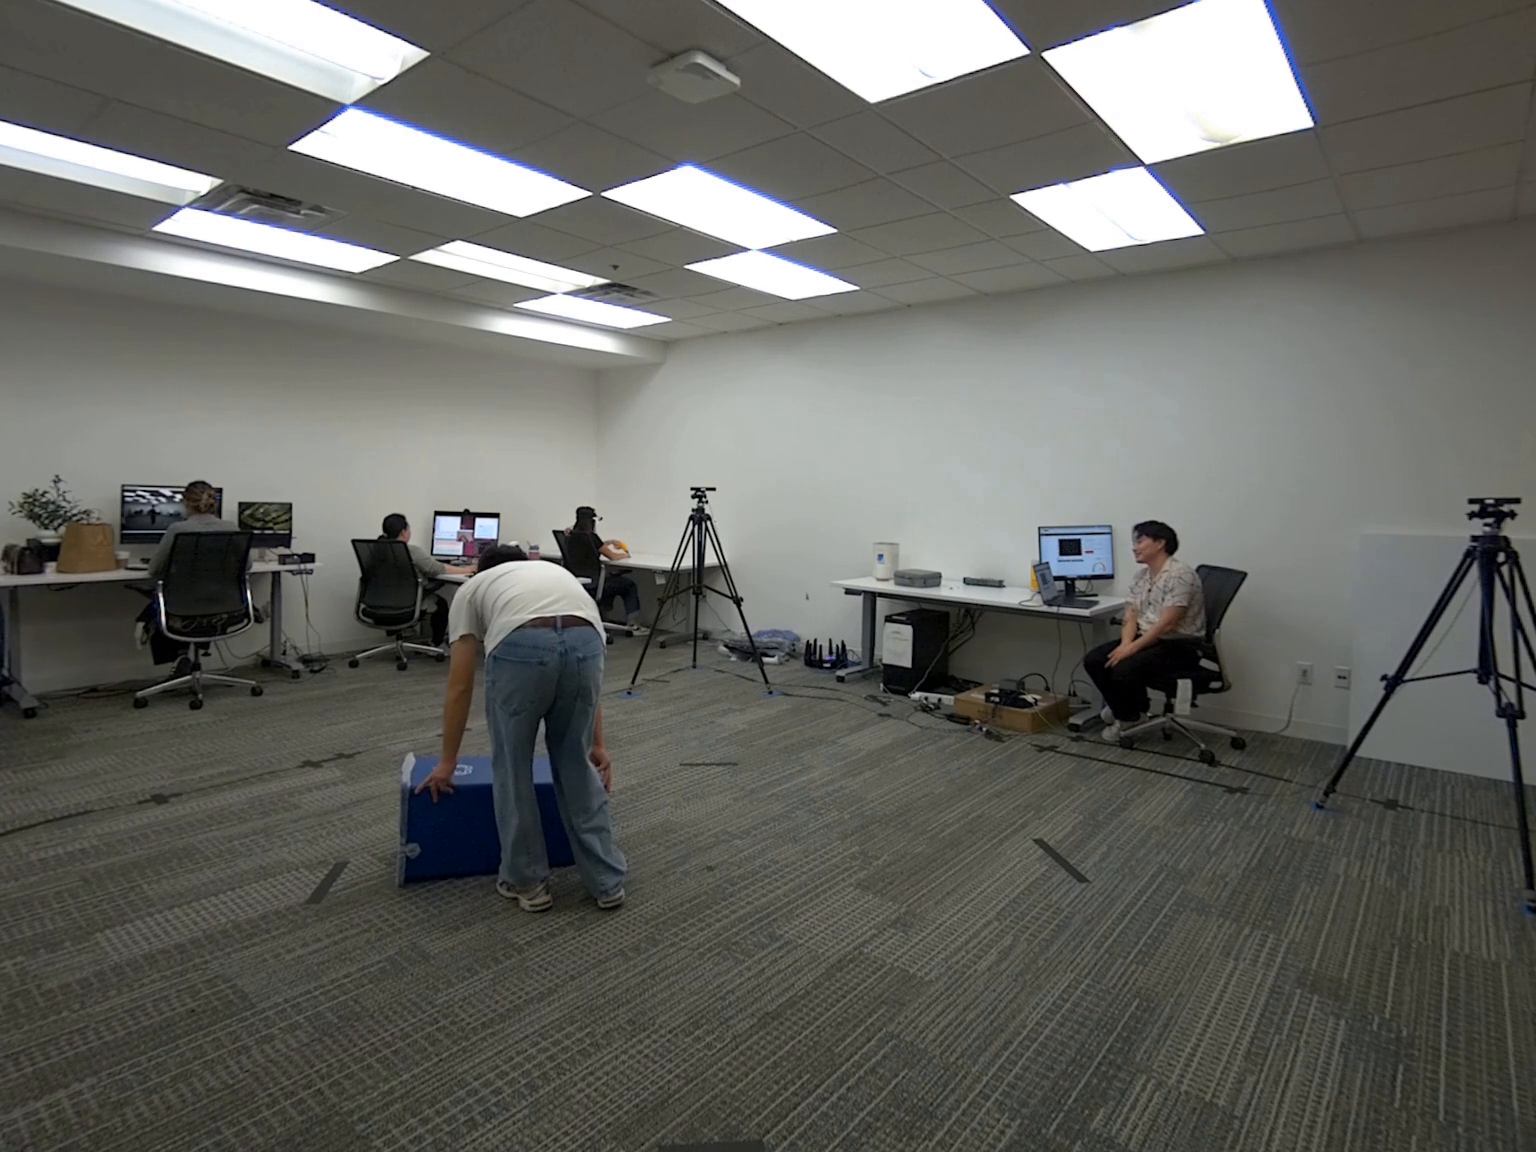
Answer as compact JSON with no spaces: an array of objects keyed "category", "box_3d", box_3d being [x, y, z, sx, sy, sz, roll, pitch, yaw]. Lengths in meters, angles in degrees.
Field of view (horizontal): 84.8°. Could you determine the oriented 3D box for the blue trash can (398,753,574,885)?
[{"category":"blue trash can","box_3d":[-1.004,0.878,3.181,0.700,0.377,0.382,2,4,-18]}]
